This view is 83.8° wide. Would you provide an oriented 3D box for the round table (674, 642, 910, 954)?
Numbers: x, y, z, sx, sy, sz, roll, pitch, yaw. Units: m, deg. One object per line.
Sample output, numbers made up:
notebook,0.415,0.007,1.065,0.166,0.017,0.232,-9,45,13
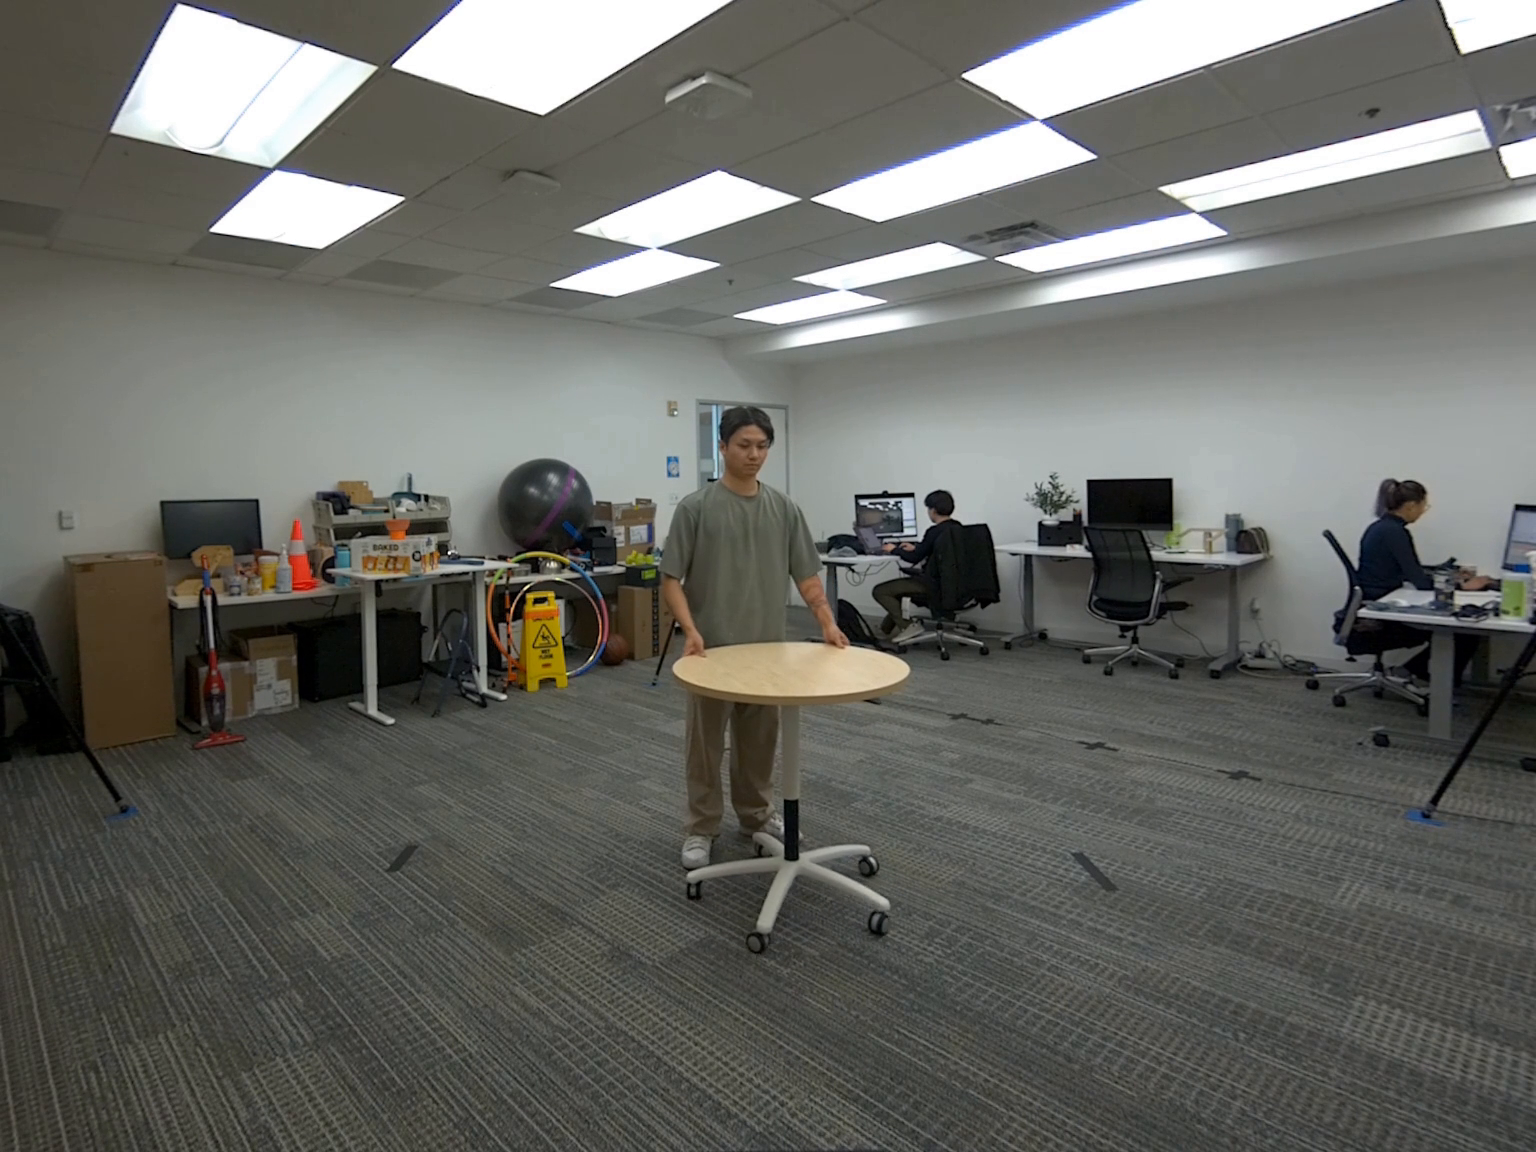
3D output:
round table,0.066,0.682,2.812,0.784,0.783,0.789,-1,5,-2
